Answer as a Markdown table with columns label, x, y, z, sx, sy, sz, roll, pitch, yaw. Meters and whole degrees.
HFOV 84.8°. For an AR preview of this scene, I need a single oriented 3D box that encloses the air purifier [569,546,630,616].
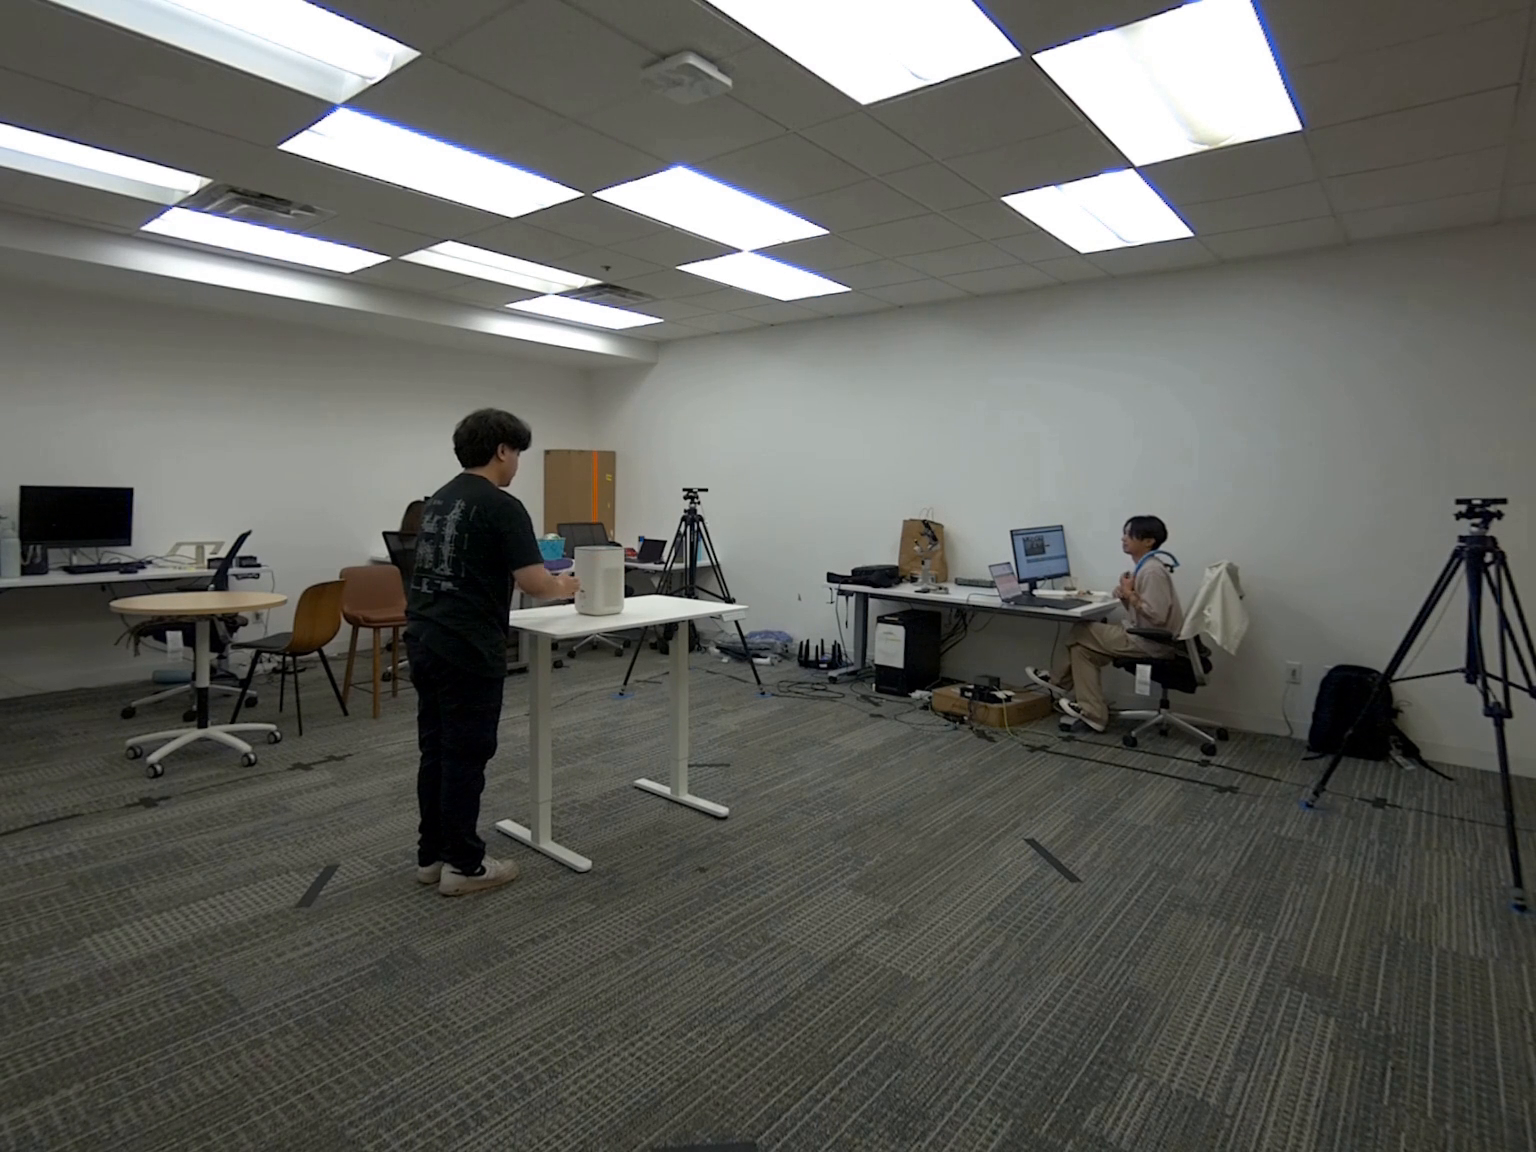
| label | x | y | z | sx | sy | sz | roll | pitch | yaw |
| --- | --- | --- | --- | --- | --- | --- | --- | --- | --- |
| air purifier | -0.689 | 0.014 | 3.424 | 0.177 | 0.265 | 0.166 | 2 | 2 | 40 |
